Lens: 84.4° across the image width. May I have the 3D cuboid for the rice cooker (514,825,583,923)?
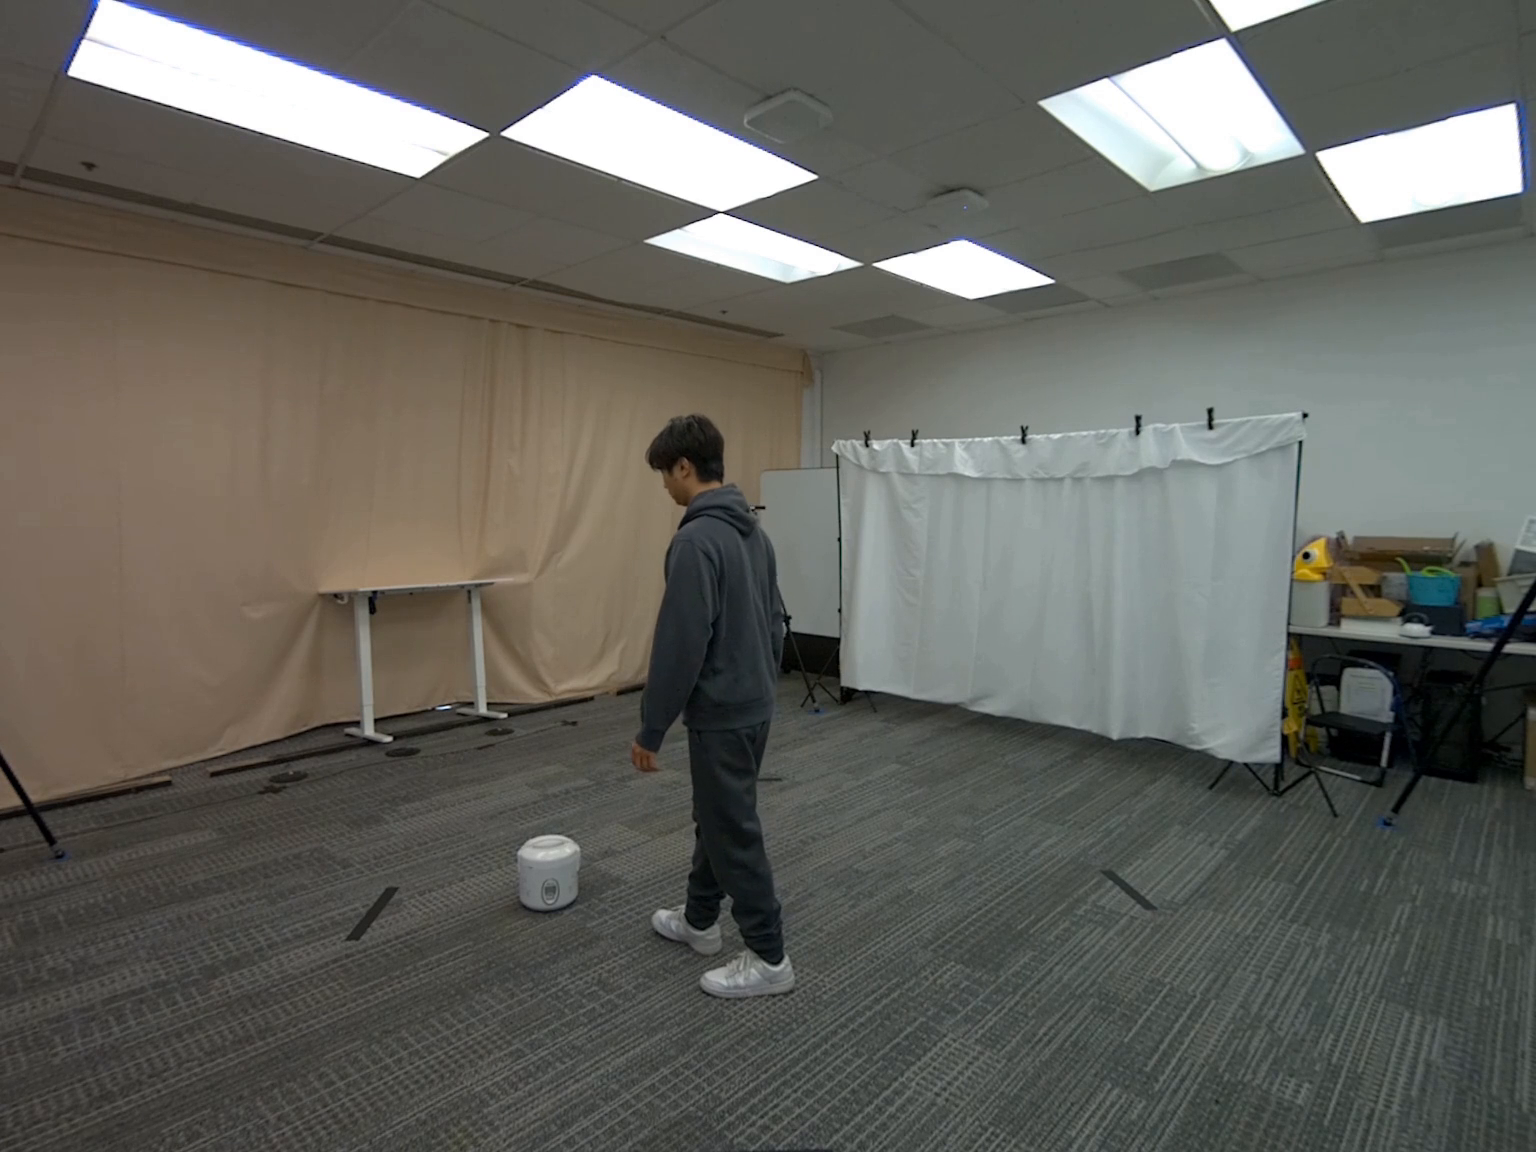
[{"bbox_3d":[-0.776,1.035,2.972,0.217,0.232,0.221,-1,2,-16],"label":"rice cooker"}]
